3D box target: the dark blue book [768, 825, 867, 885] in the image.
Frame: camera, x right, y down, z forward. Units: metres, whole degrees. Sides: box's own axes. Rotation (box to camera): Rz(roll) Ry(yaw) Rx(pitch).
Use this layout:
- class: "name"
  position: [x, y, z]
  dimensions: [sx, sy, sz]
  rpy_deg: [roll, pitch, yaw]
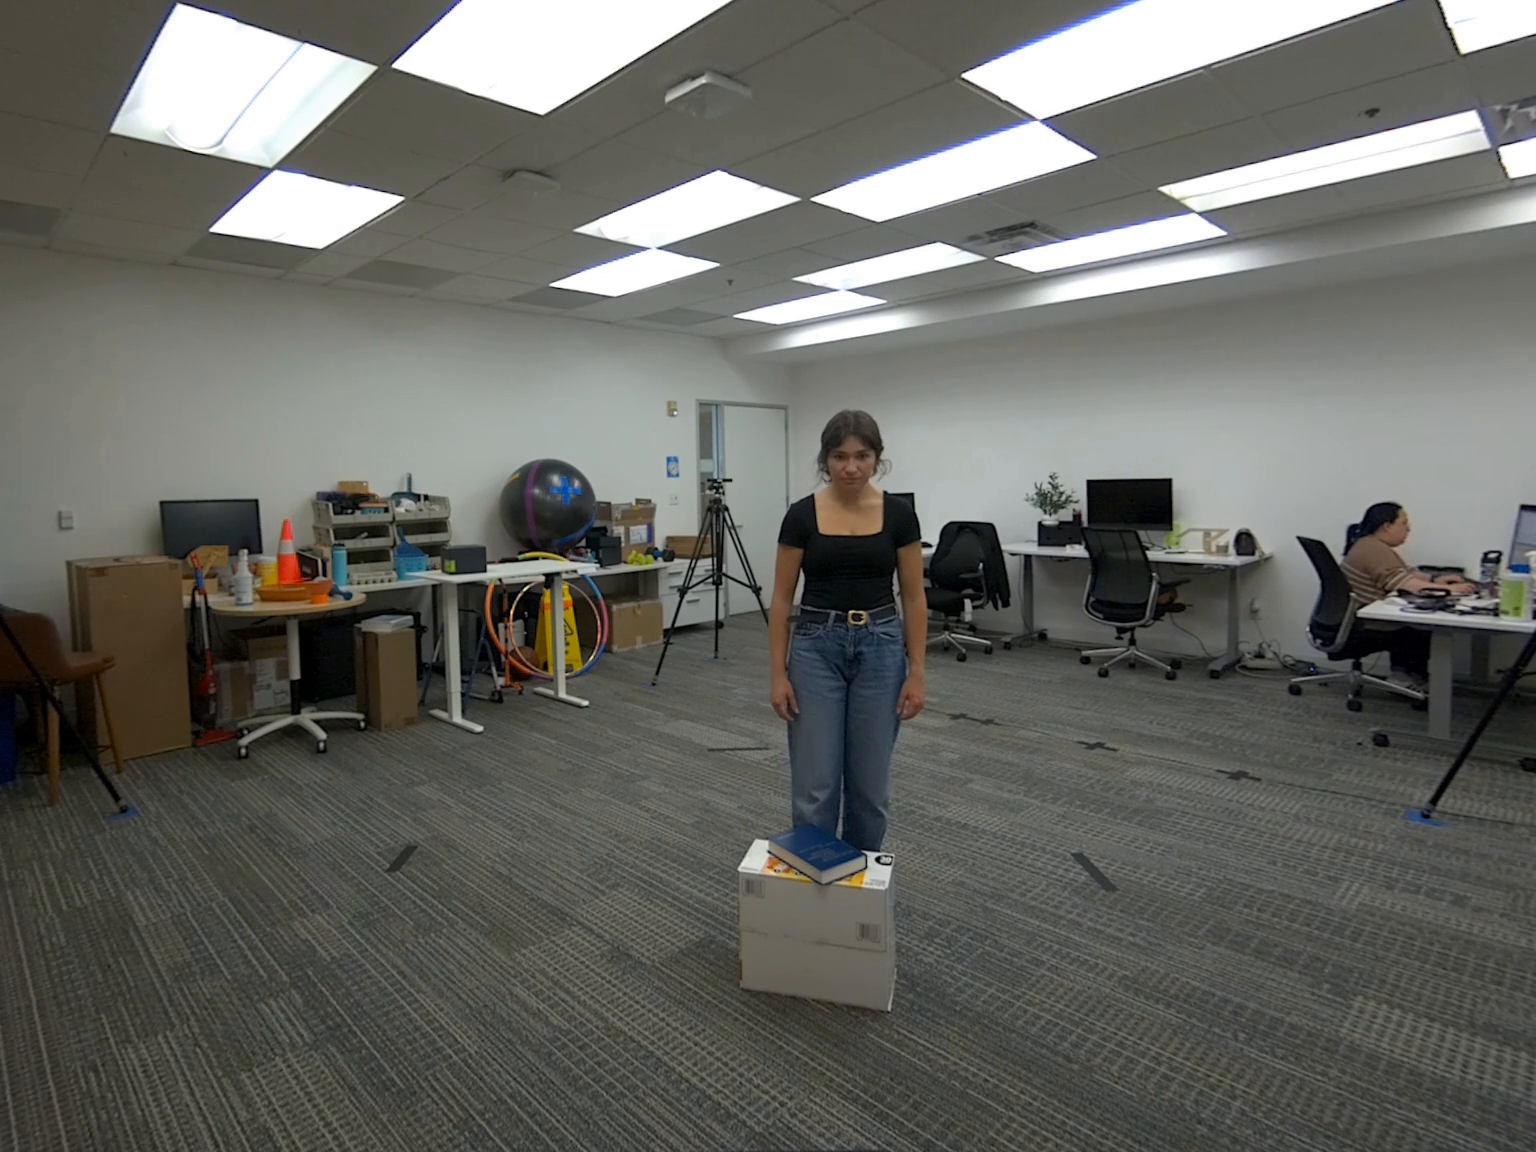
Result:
- class: "dark blue book"
  position: [0.129, 0.769, 2.370]
  dimensions: [0.159, 0.045, 0.253]
  rpy_deg: [-7, 10, -35]
